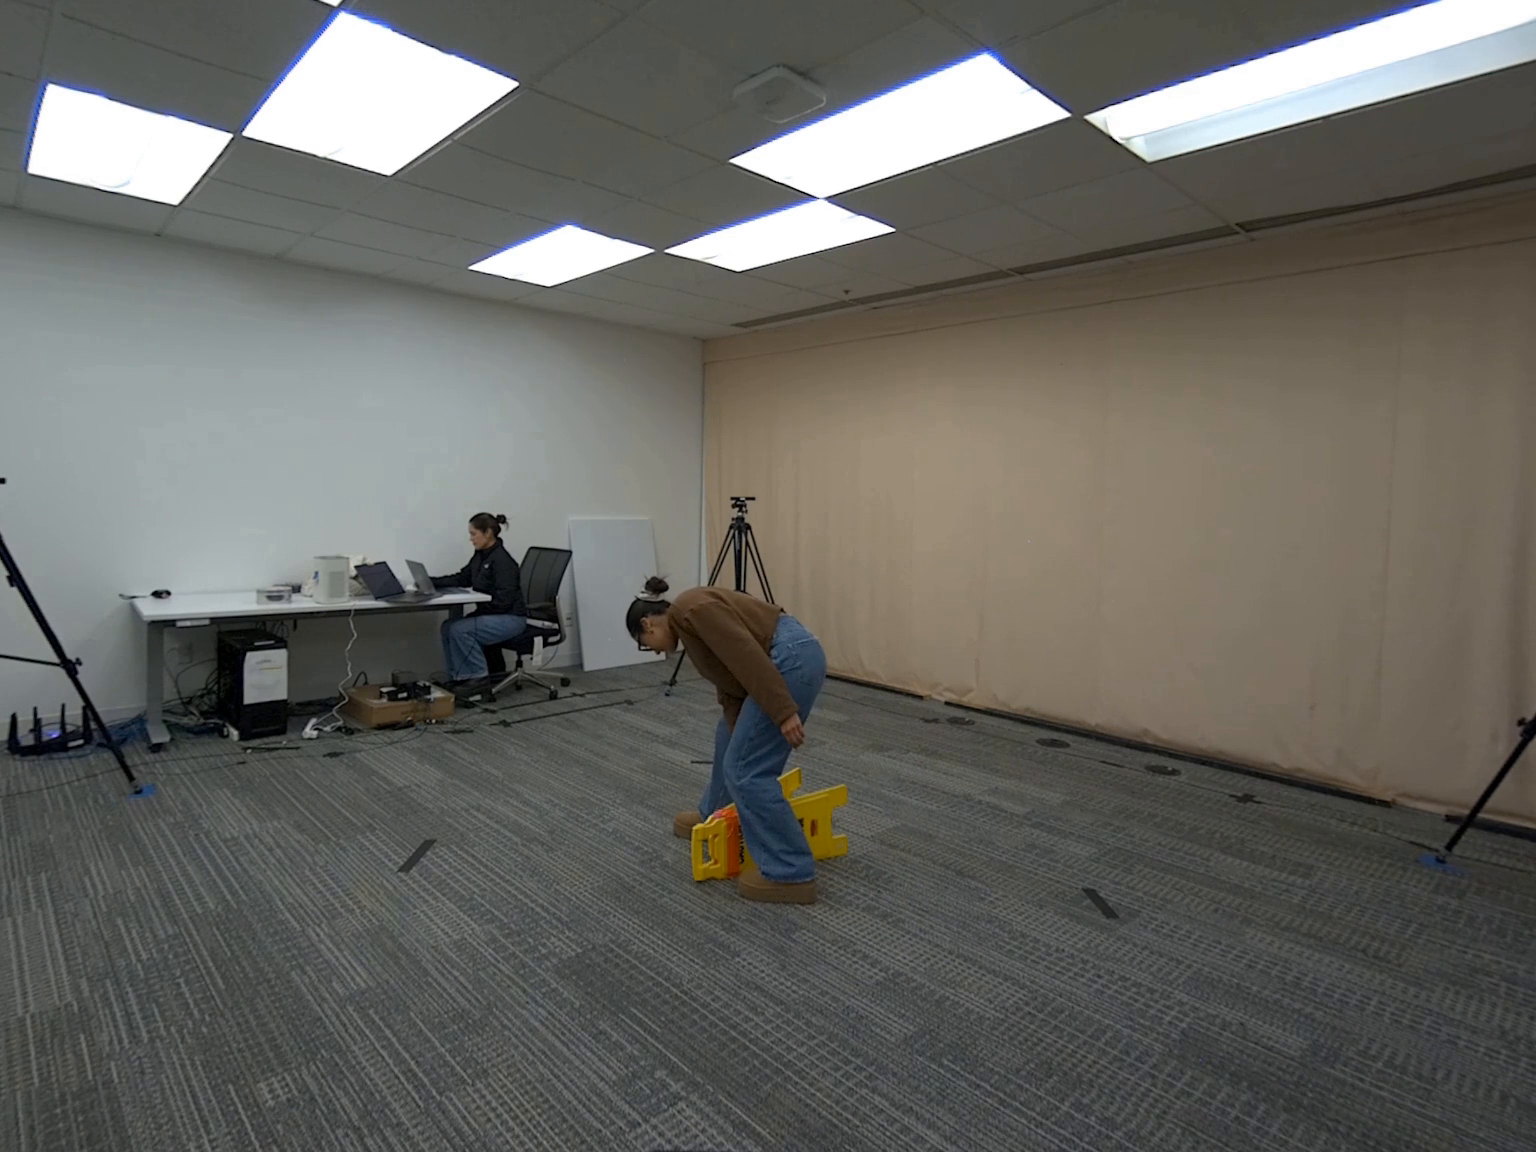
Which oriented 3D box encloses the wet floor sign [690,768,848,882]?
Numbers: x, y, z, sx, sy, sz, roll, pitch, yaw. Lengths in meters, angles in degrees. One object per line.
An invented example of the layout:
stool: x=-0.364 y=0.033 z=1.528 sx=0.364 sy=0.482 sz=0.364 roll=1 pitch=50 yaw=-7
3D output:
wet floor sign: x=-0.022 y=0.974 z=3.220 sx=0.632 sy=0.281 sz=0.297 roll=-6 pitch=8 yaw=-38
